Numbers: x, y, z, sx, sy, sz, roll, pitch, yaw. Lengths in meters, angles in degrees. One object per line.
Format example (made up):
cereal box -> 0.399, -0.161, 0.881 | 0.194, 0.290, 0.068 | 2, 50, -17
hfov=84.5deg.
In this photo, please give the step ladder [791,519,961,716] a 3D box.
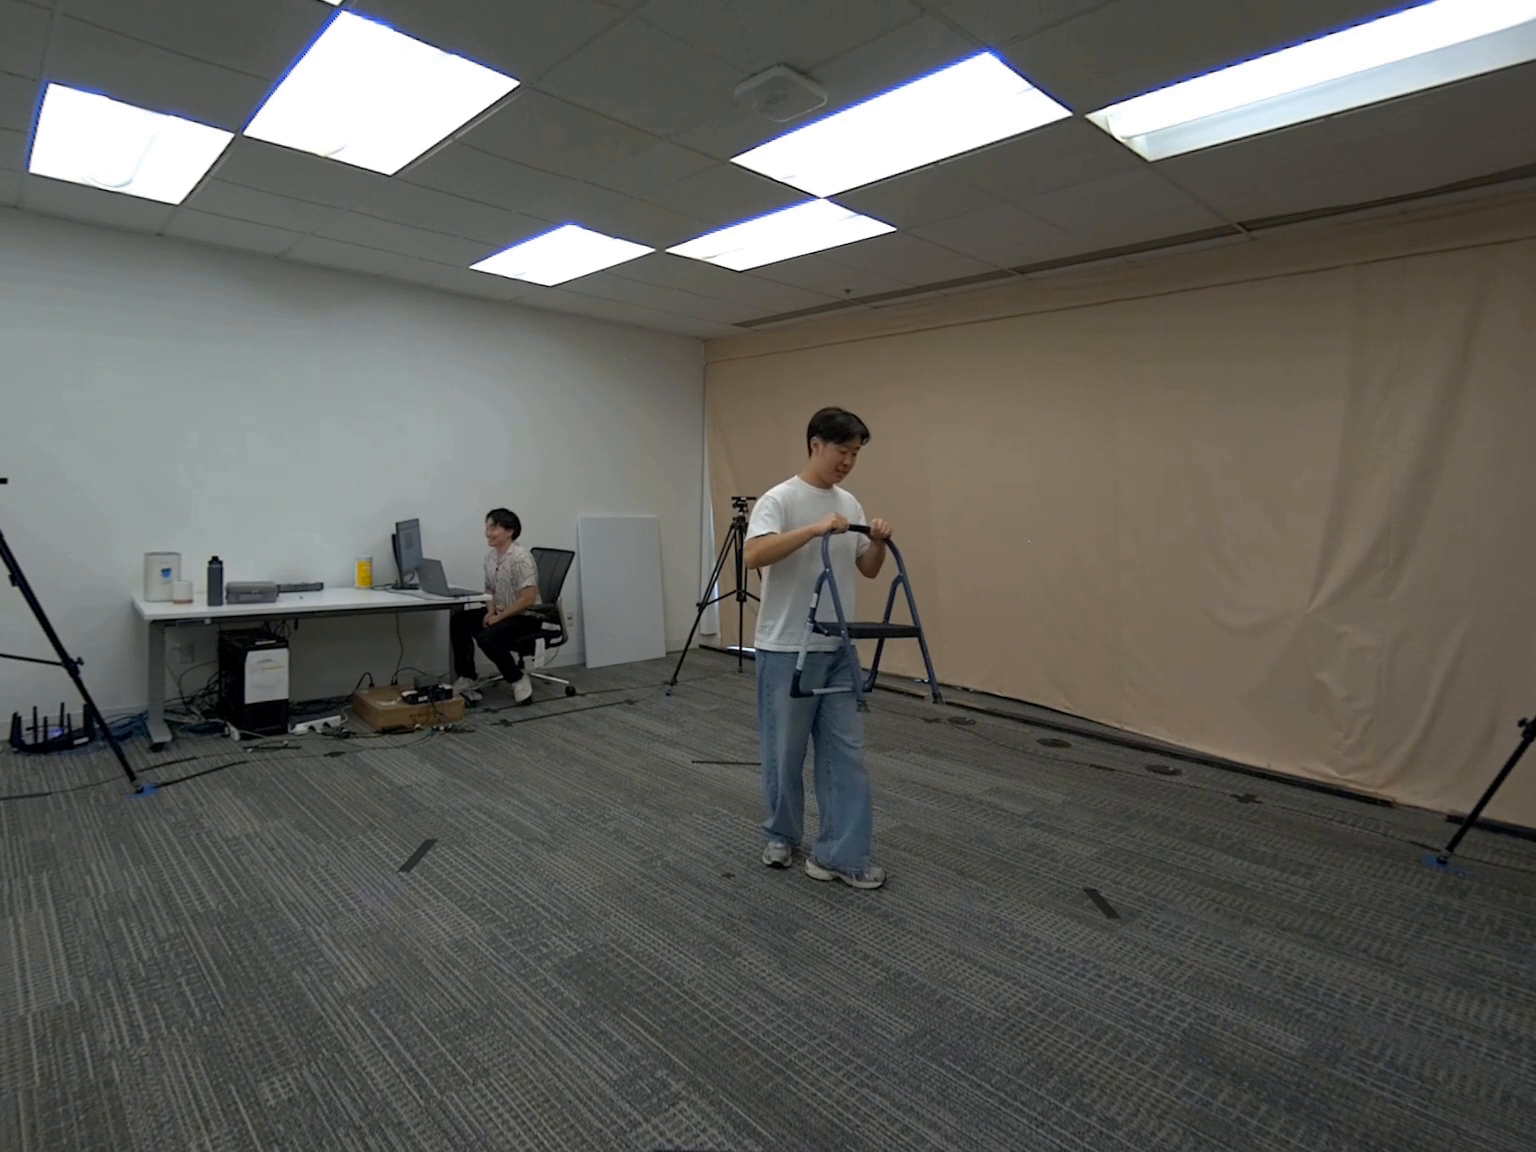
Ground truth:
step ladder -> 0.367, 0.135, 2.892 | 0.419, 0.607, 0.357 | 6, -4, -40
